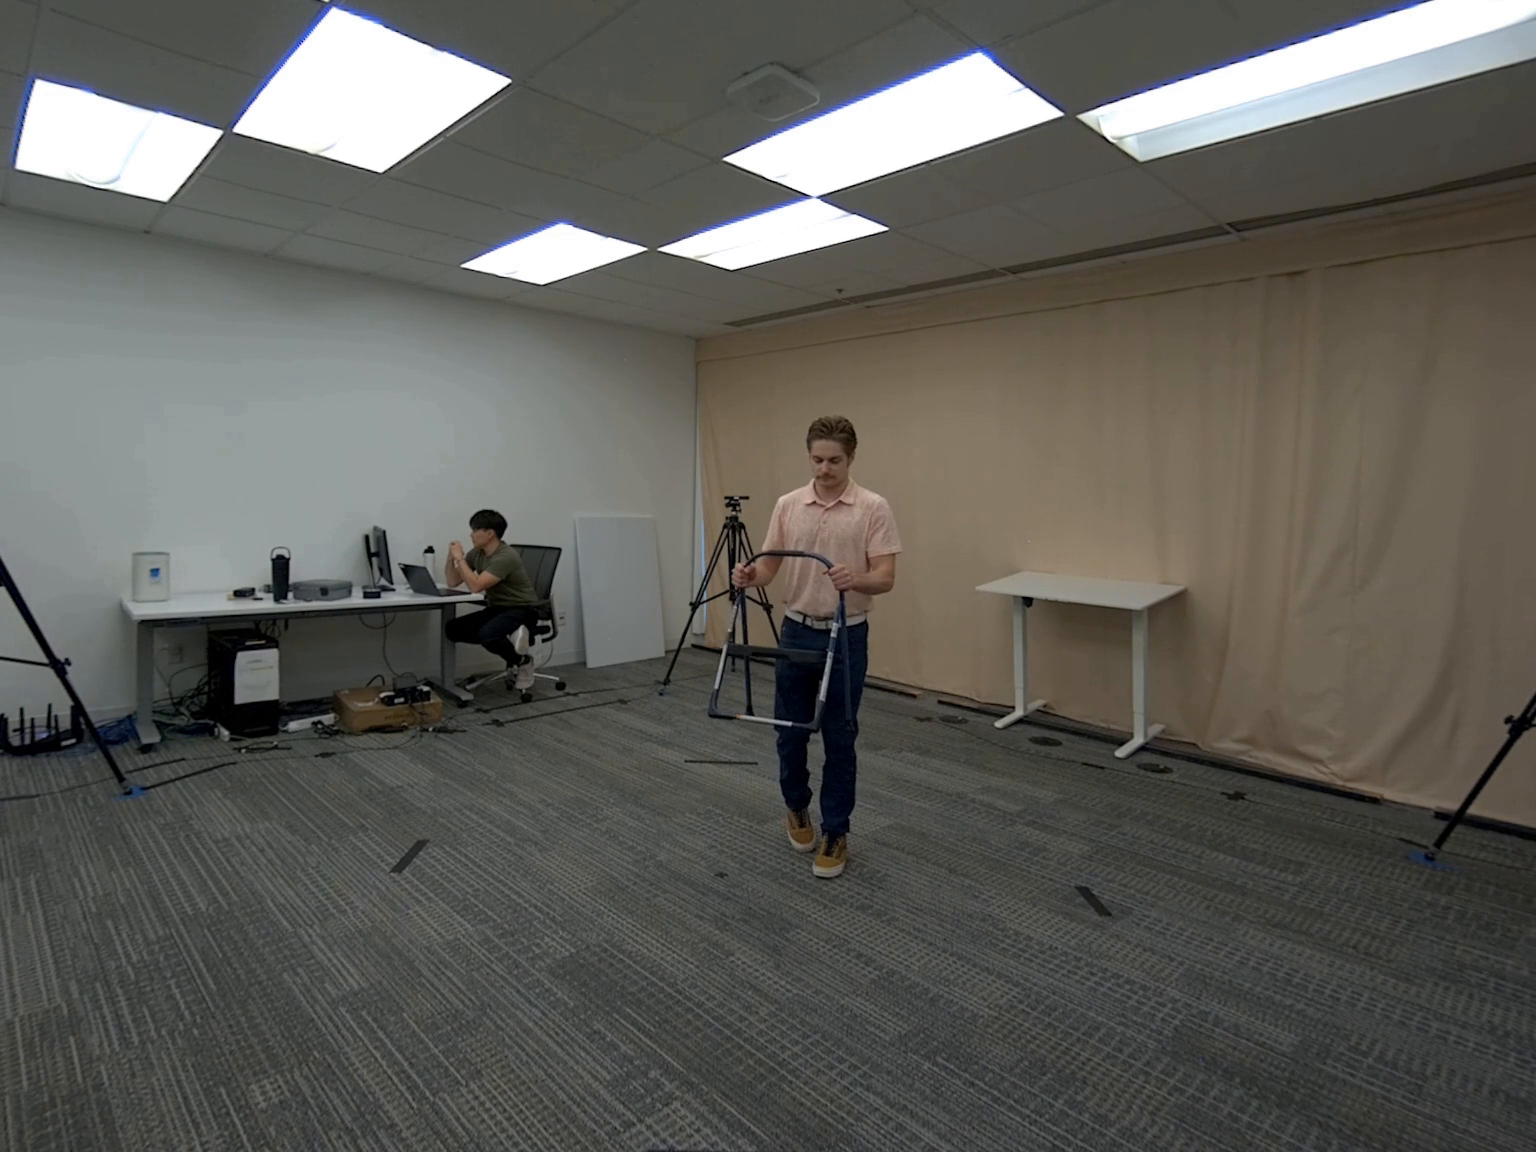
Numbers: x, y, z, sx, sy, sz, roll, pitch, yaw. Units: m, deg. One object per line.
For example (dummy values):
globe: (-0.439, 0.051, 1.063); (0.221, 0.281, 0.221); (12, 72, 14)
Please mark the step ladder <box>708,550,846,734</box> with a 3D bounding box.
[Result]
step ladder: (0.064, 0.224, 2.996); (0.439, 0.609, 0.341); (2, -8, 26)
